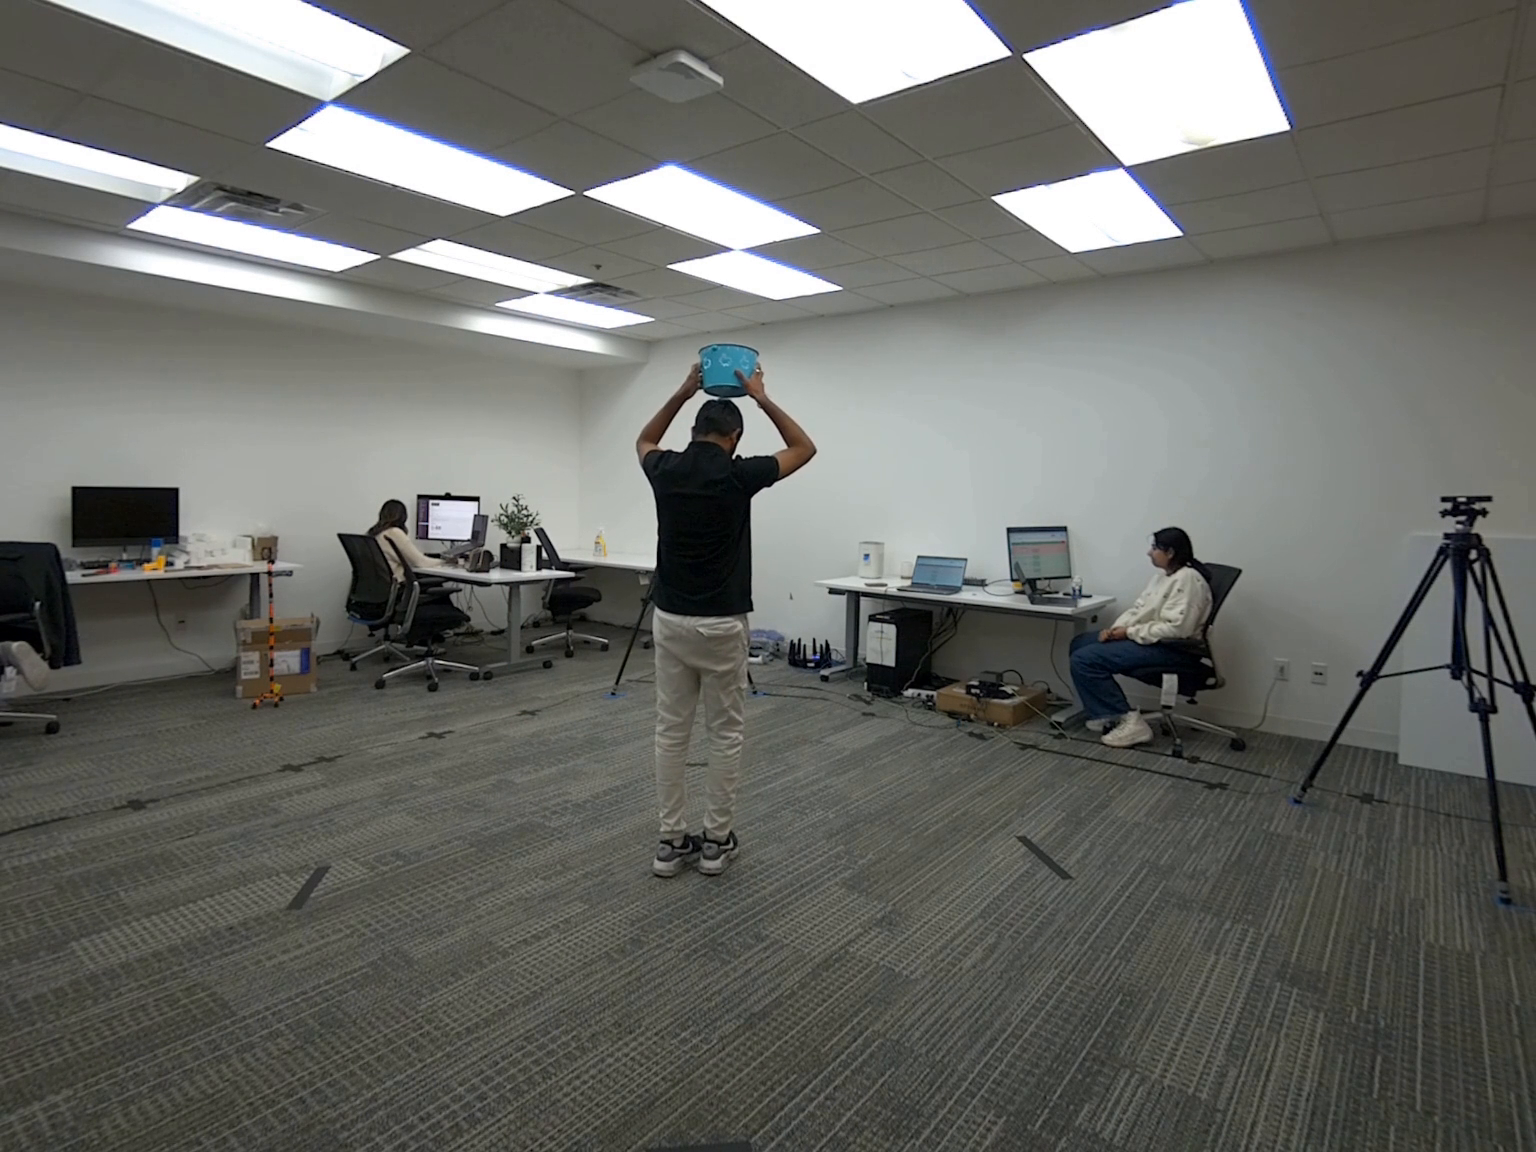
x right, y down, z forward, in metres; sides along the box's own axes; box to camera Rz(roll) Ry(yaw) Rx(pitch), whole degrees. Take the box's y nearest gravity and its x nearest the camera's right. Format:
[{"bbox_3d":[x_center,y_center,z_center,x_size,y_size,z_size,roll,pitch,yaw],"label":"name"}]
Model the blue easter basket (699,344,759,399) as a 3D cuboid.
[{"bbox_3d":[-0.172,-0.785,3.279,0.243,0.157,0.242,2,-5,-2],"label":"blue easter basket"}]
